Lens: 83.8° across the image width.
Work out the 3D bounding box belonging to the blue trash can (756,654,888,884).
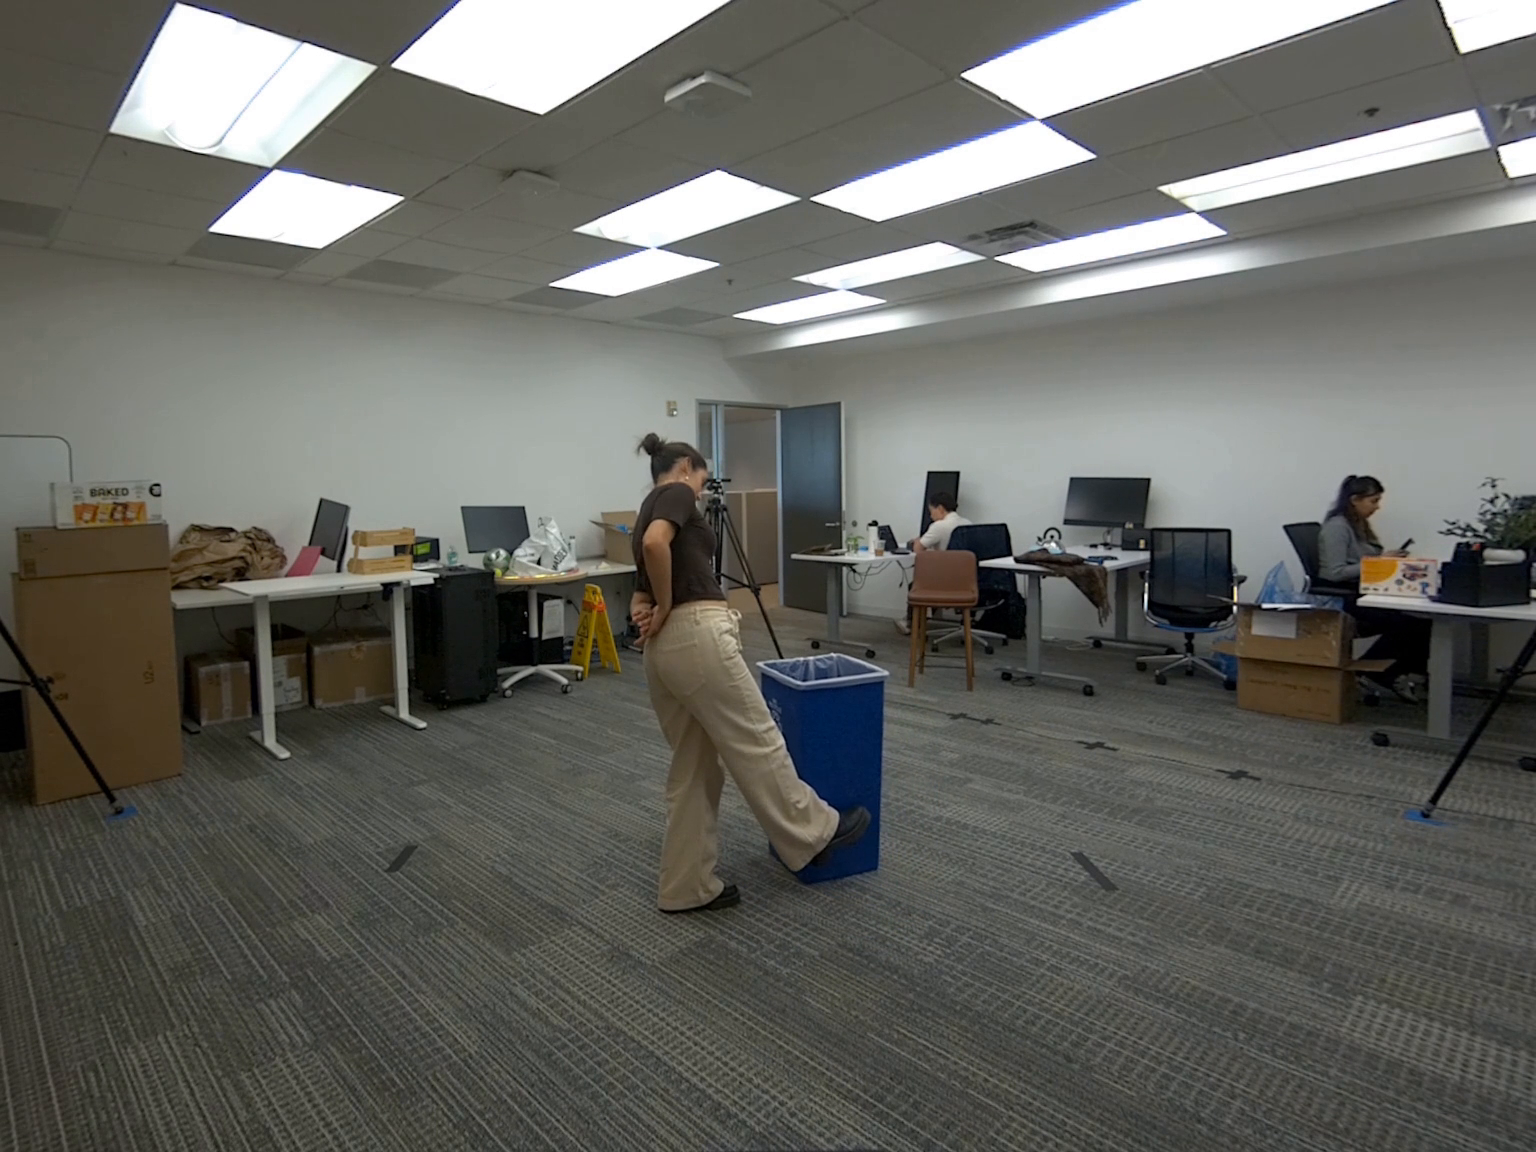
[{"bbox_3d":[0.194,0.682,3.095,0.367,0.711,0.387,-3,5,-24],"label":"blue trash can"}]
